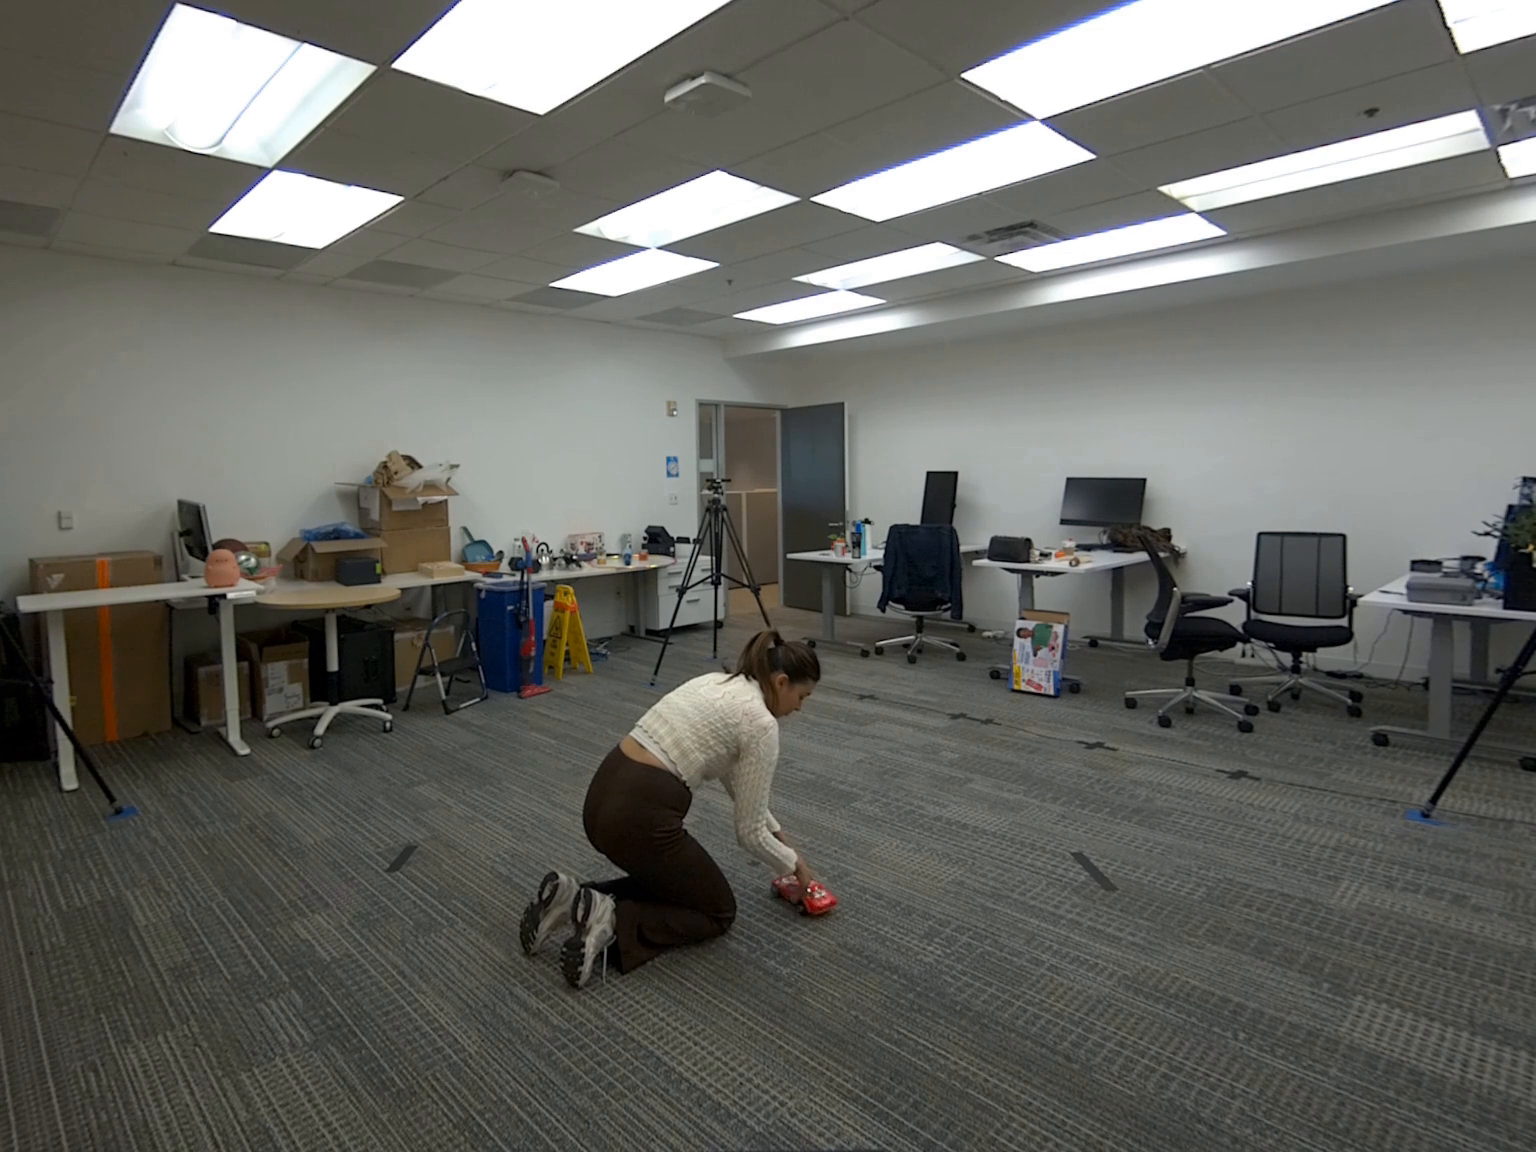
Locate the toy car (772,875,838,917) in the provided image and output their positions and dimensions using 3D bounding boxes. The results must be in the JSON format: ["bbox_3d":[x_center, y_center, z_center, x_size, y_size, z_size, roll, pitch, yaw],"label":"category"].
[{"bbox_3d":[0.126,1.046,2.794,0.127,0.083,0.260,-4,-3,-34],"label":"toy car"}]
